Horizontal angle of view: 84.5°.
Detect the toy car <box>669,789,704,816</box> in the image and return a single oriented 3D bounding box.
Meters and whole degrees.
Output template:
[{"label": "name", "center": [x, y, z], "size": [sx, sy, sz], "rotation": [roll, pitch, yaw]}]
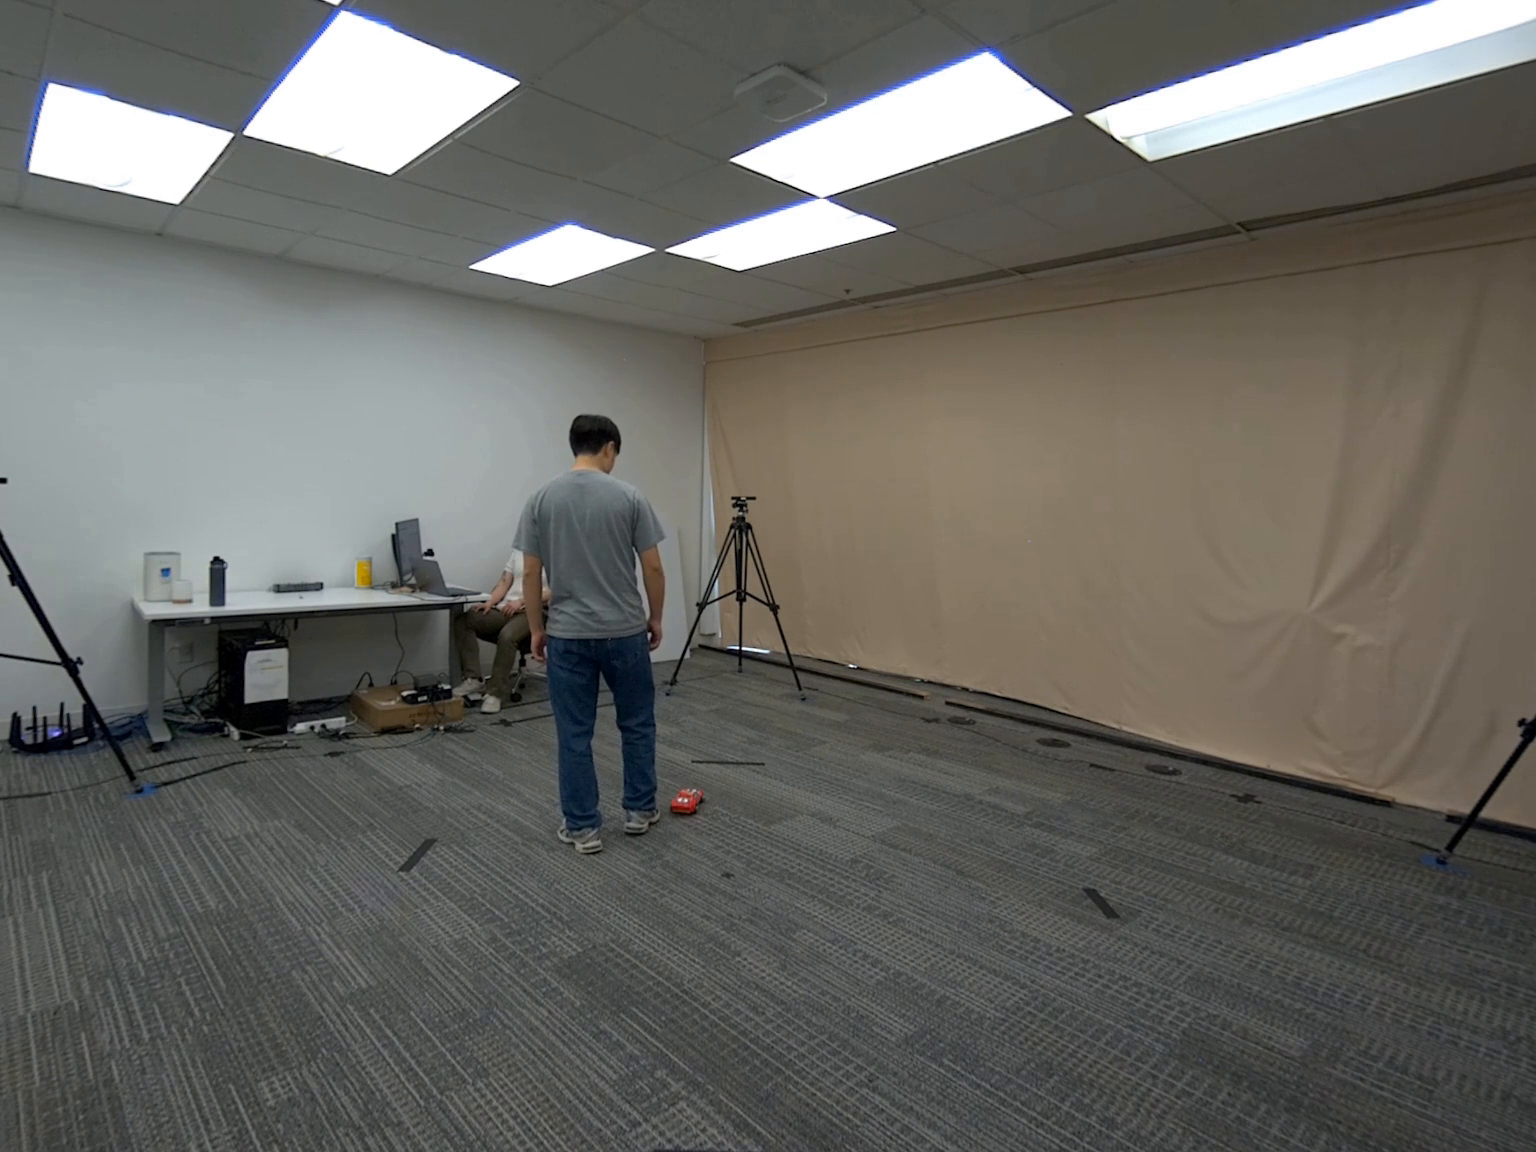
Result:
[{"label": "toy car", "center": [-0.376, 1.011, 3.771], "size": [0.131, 0.083, 0.251], "rotation": [3, -6, 9]}]
